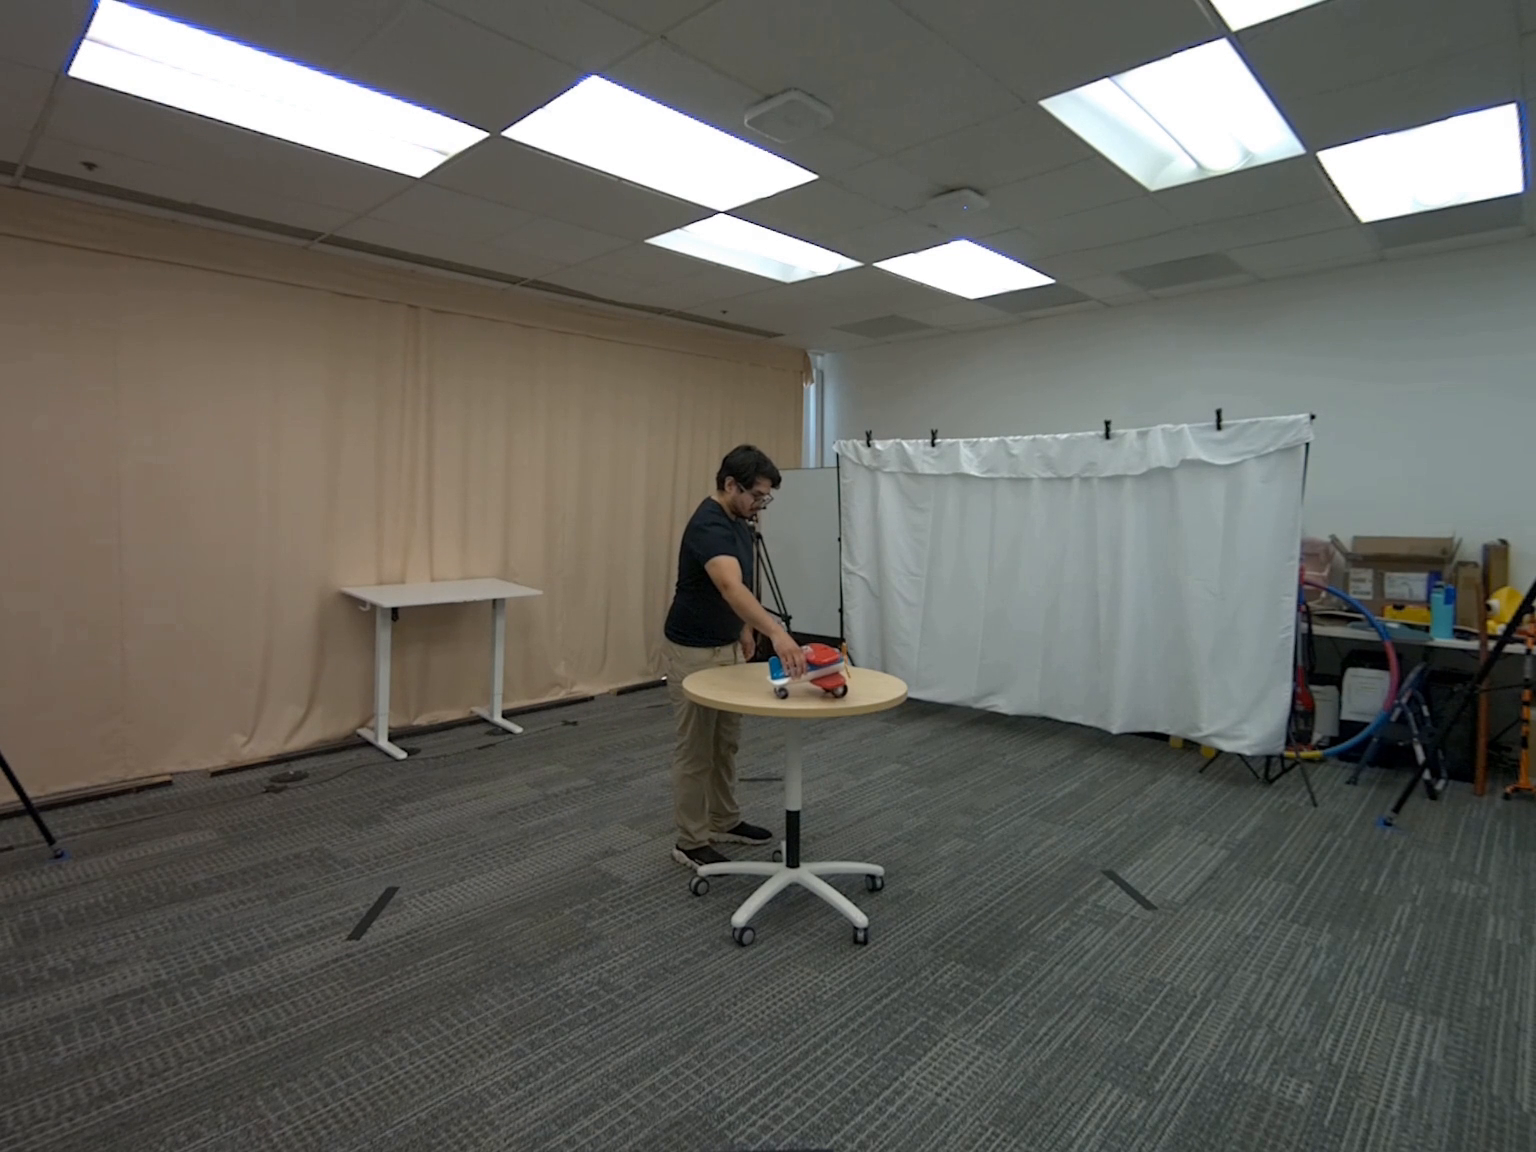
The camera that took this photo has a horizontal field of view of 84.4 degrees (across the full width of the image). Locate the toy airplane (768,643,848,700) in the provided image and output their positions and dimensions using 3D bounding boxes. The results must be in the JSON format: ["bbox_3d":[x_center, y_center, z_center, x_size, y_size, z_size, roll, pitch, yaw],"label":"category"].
[{"bbox_3d":[0.142,0.310,2.657,0.251,0.156,0.259,-2,4,-42],"label":"toy airplane"}]
